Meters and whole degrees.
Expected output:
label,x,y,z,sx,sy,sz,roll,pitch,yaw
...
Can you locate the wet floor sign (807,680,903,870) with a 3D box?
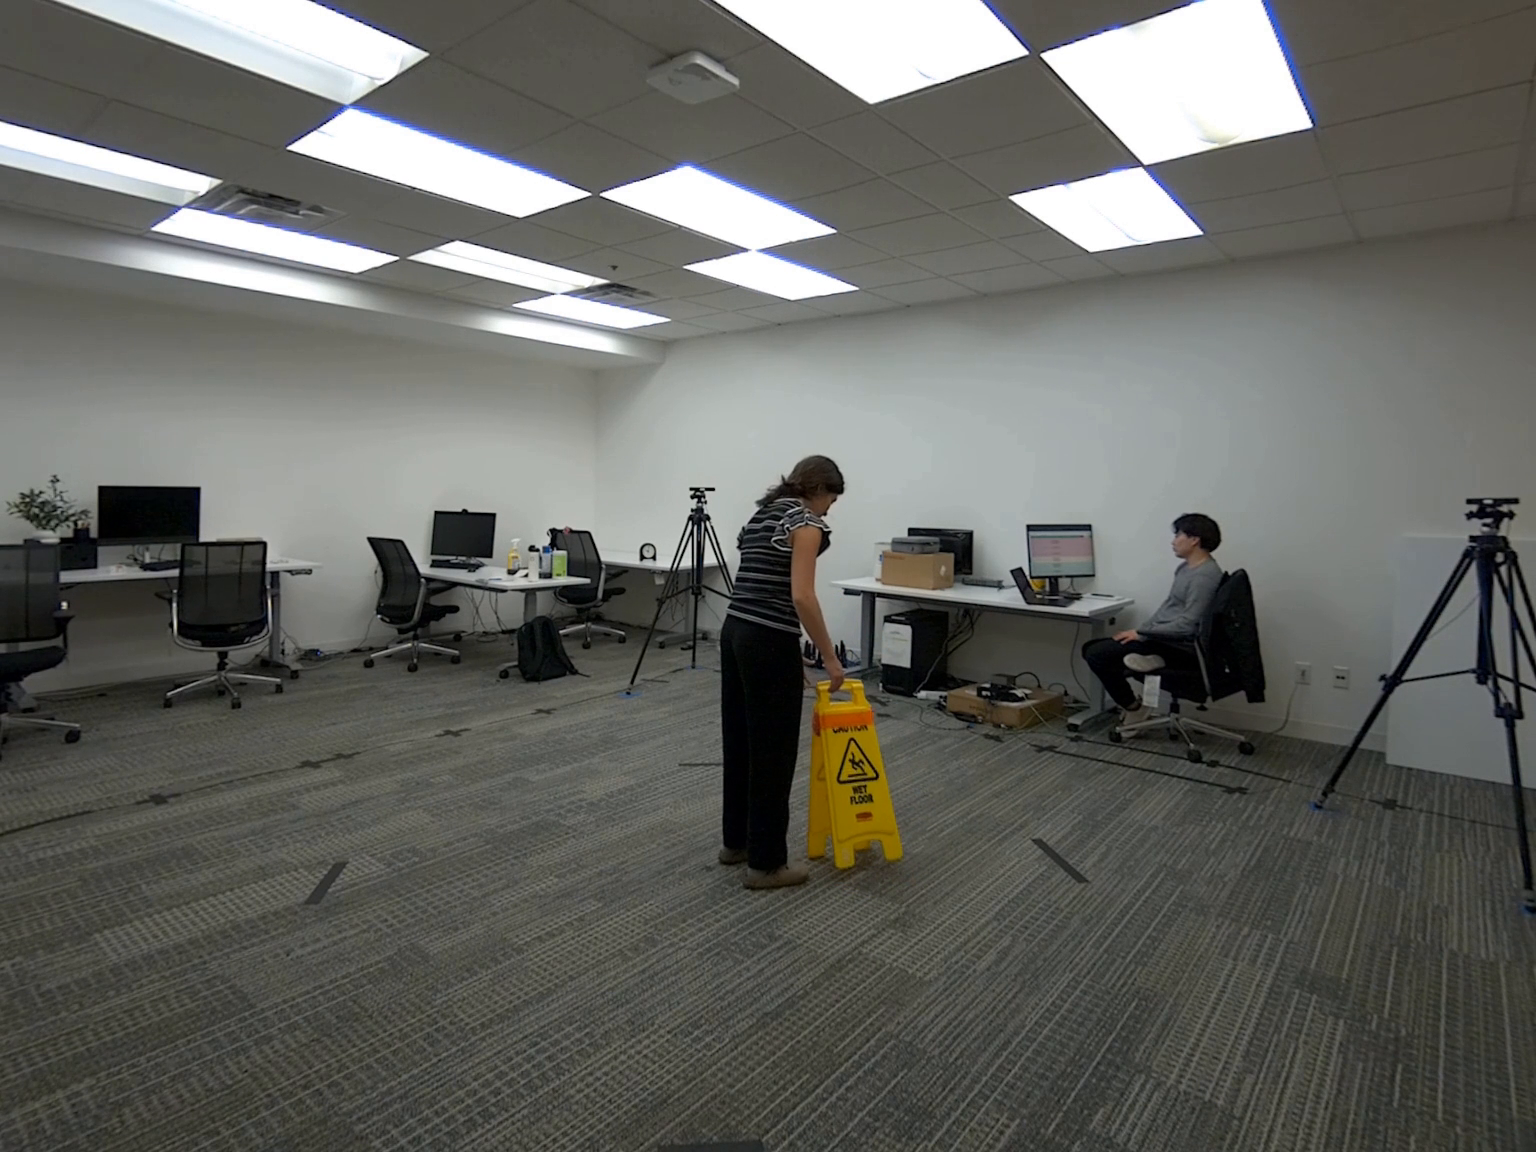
label,x,y,z,sx,sy,sz,roll,pitch,yaw
wet floor sign,0.294,0.727,3.221,0.276,0.651,0.294,-1,-7,-23
